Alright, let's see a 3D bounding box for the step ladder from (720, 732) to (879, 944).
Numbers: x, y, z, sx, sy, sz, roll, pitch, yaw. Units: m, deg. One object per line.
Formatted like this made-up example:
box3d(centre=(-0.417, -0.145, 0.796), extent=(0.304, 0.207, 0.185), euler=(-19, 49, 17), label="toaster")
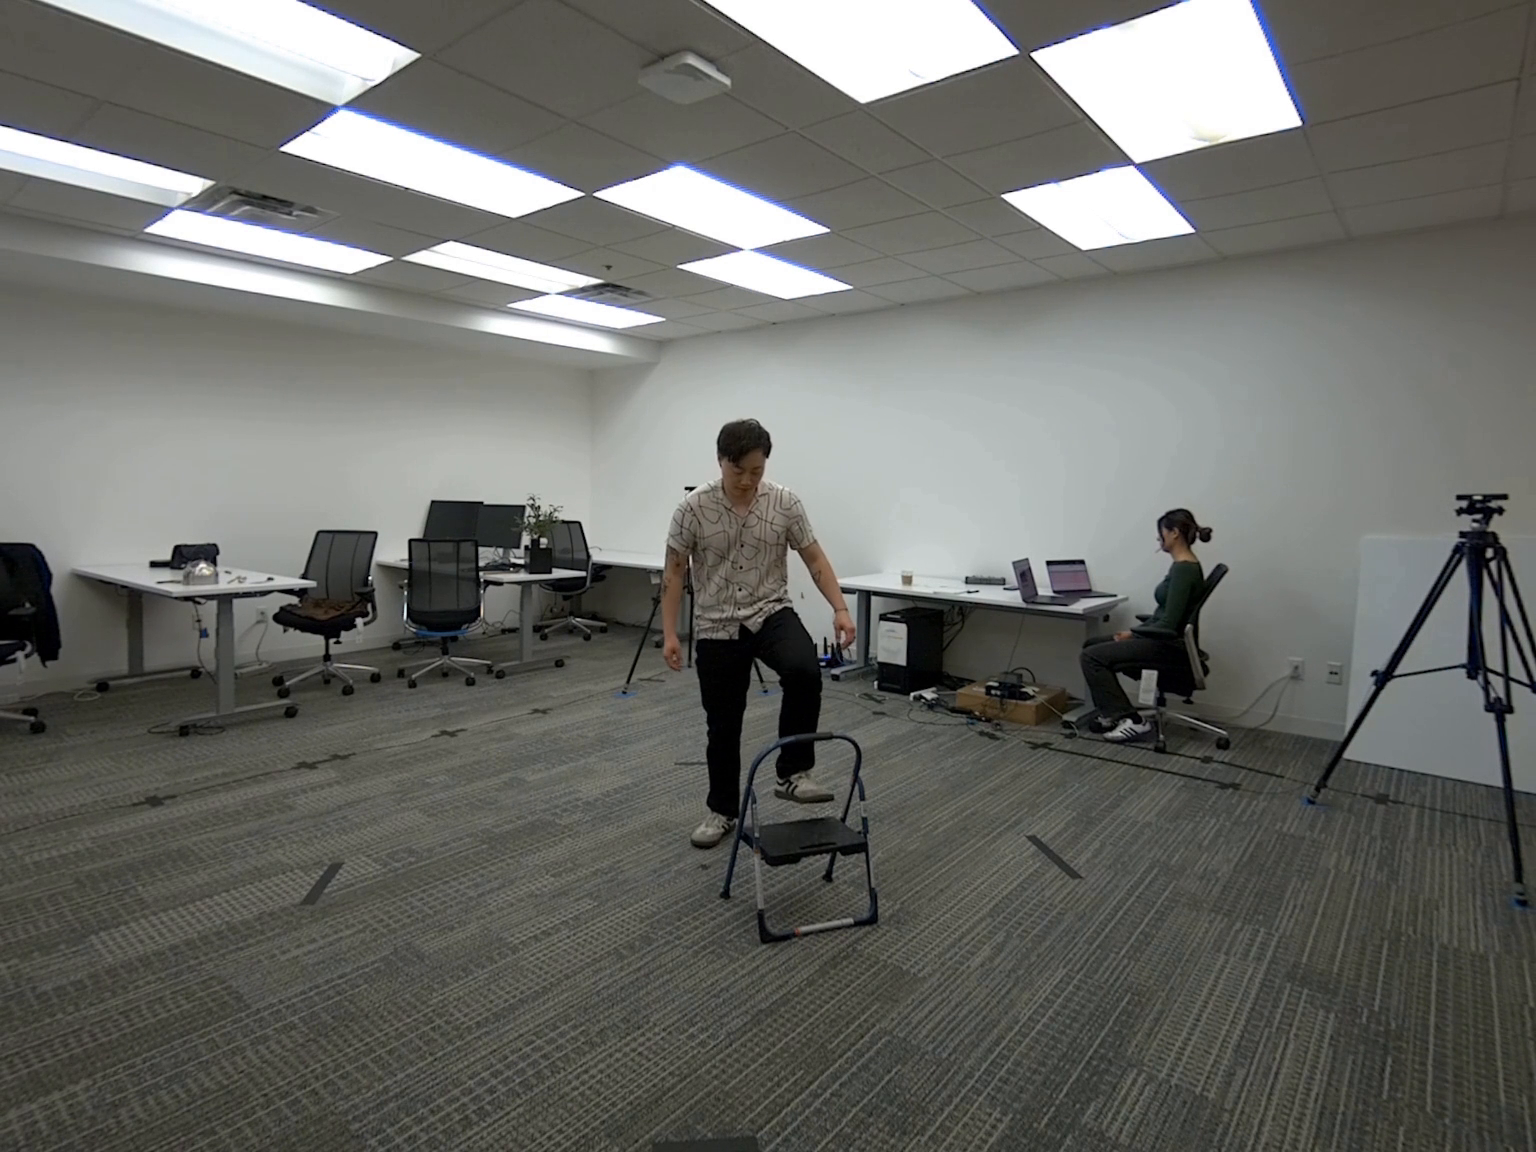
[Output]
box3d(centre=(0.100, 0.797, 2.804), extent=(0.421, 0.604, 0.358), euler=(-1, 4, -24), label="step ladder")
